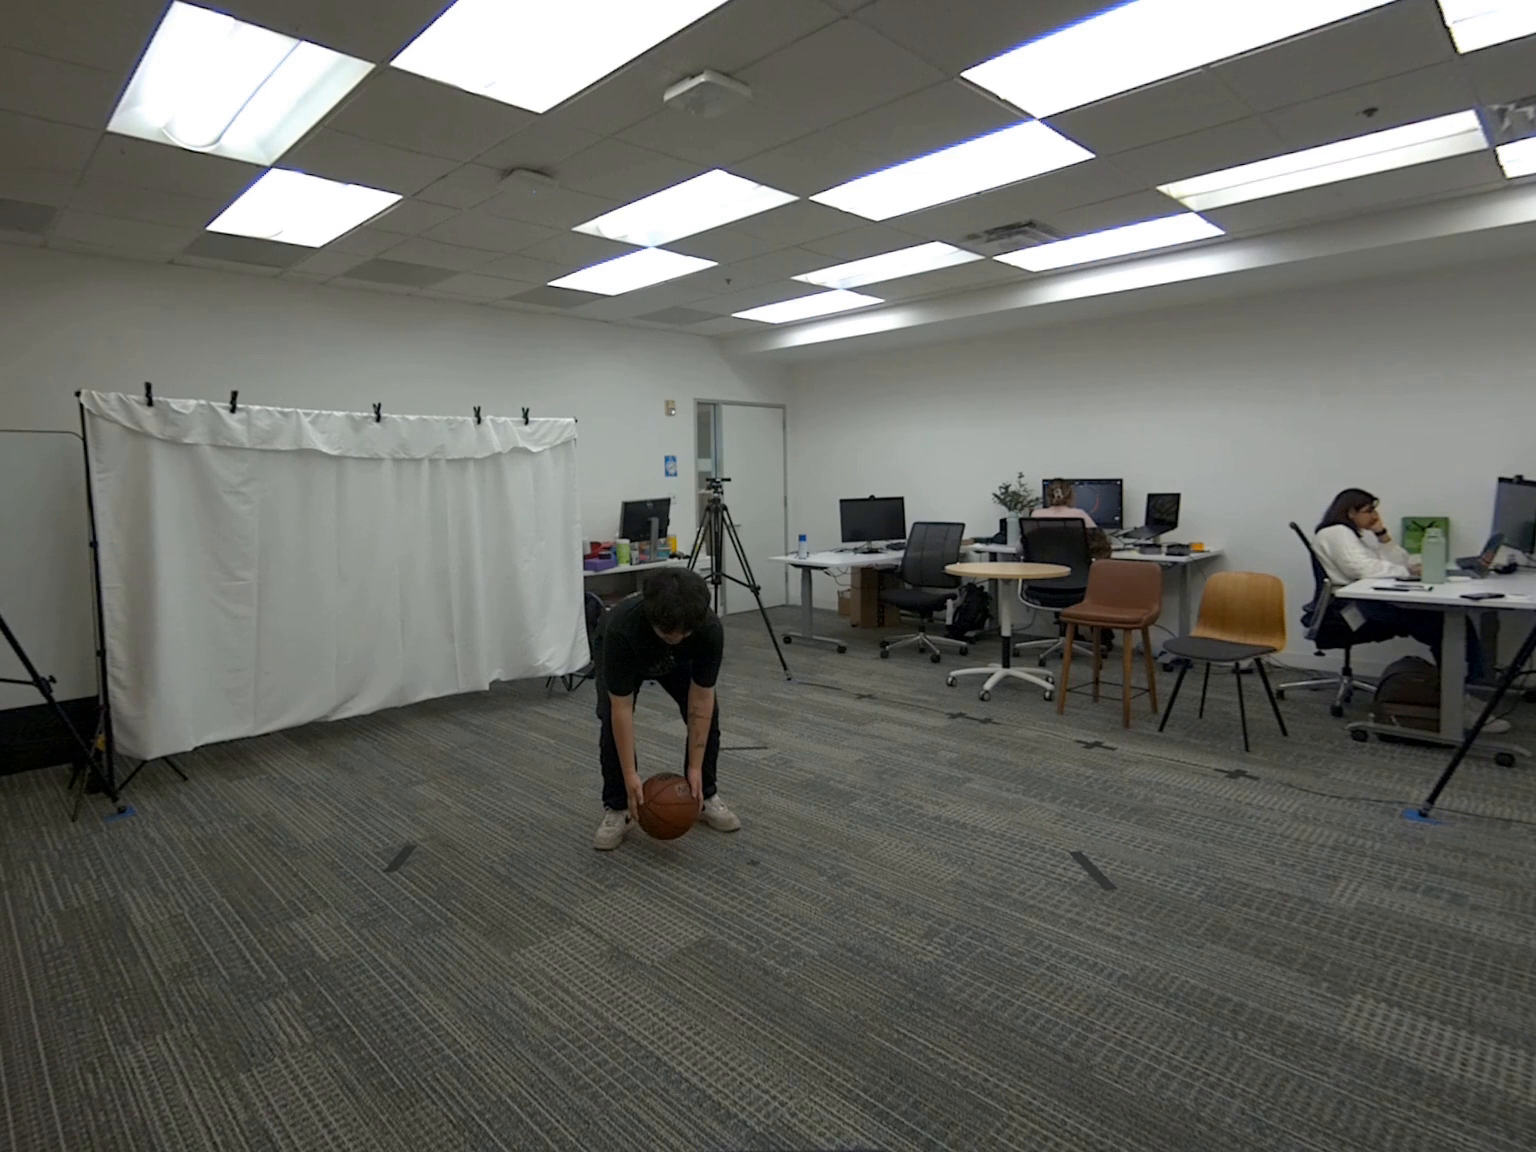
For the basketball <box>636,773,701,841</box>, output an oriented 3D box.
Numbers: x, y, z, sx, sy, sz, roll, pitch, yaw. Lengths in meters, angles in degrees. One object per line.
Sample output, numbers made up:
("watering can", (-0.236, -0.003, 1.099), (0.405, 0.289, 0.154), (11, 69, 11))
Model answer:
("basketball", (-0.372, 0.843, 3.169), (0.236, 0.235, 0.237), (-1, 5, -2))
